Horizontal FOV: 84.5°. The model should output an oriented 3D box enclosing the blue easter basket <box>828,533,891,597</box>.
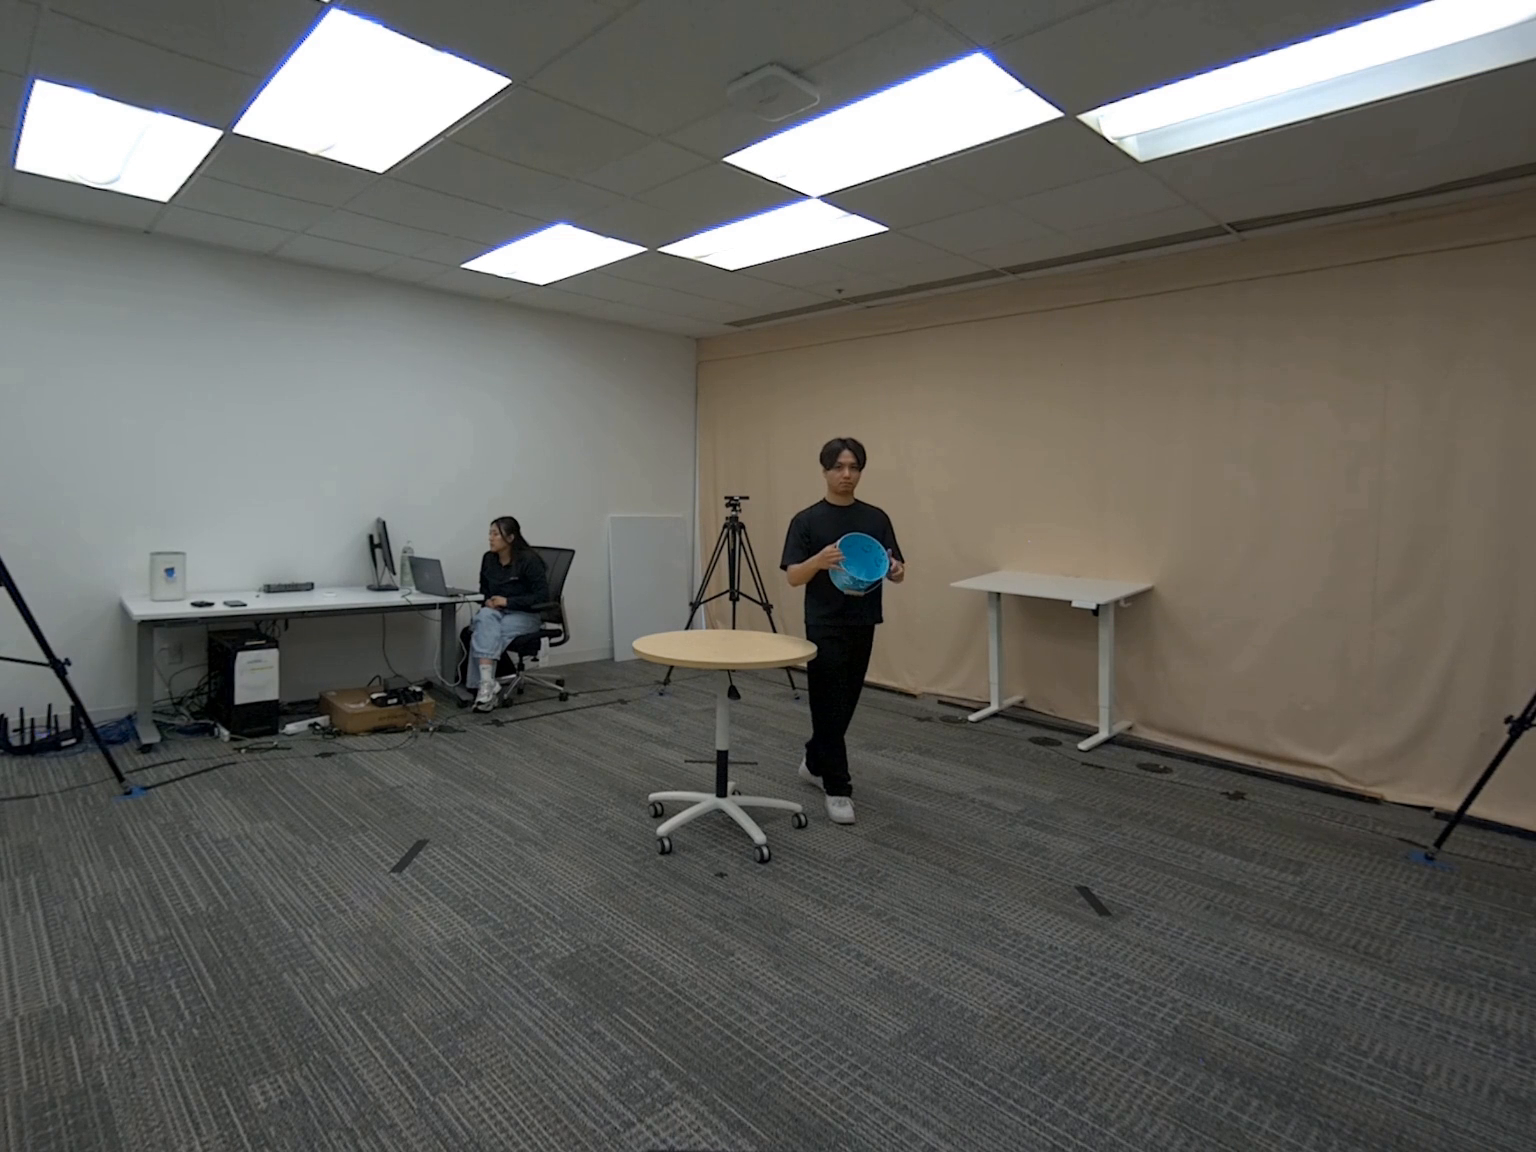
[{"bbox_3d":[0.360,-0.038,3.512,0.240,0.249,0.154,0,-32,-16],"label":"blue easter basket"}]
